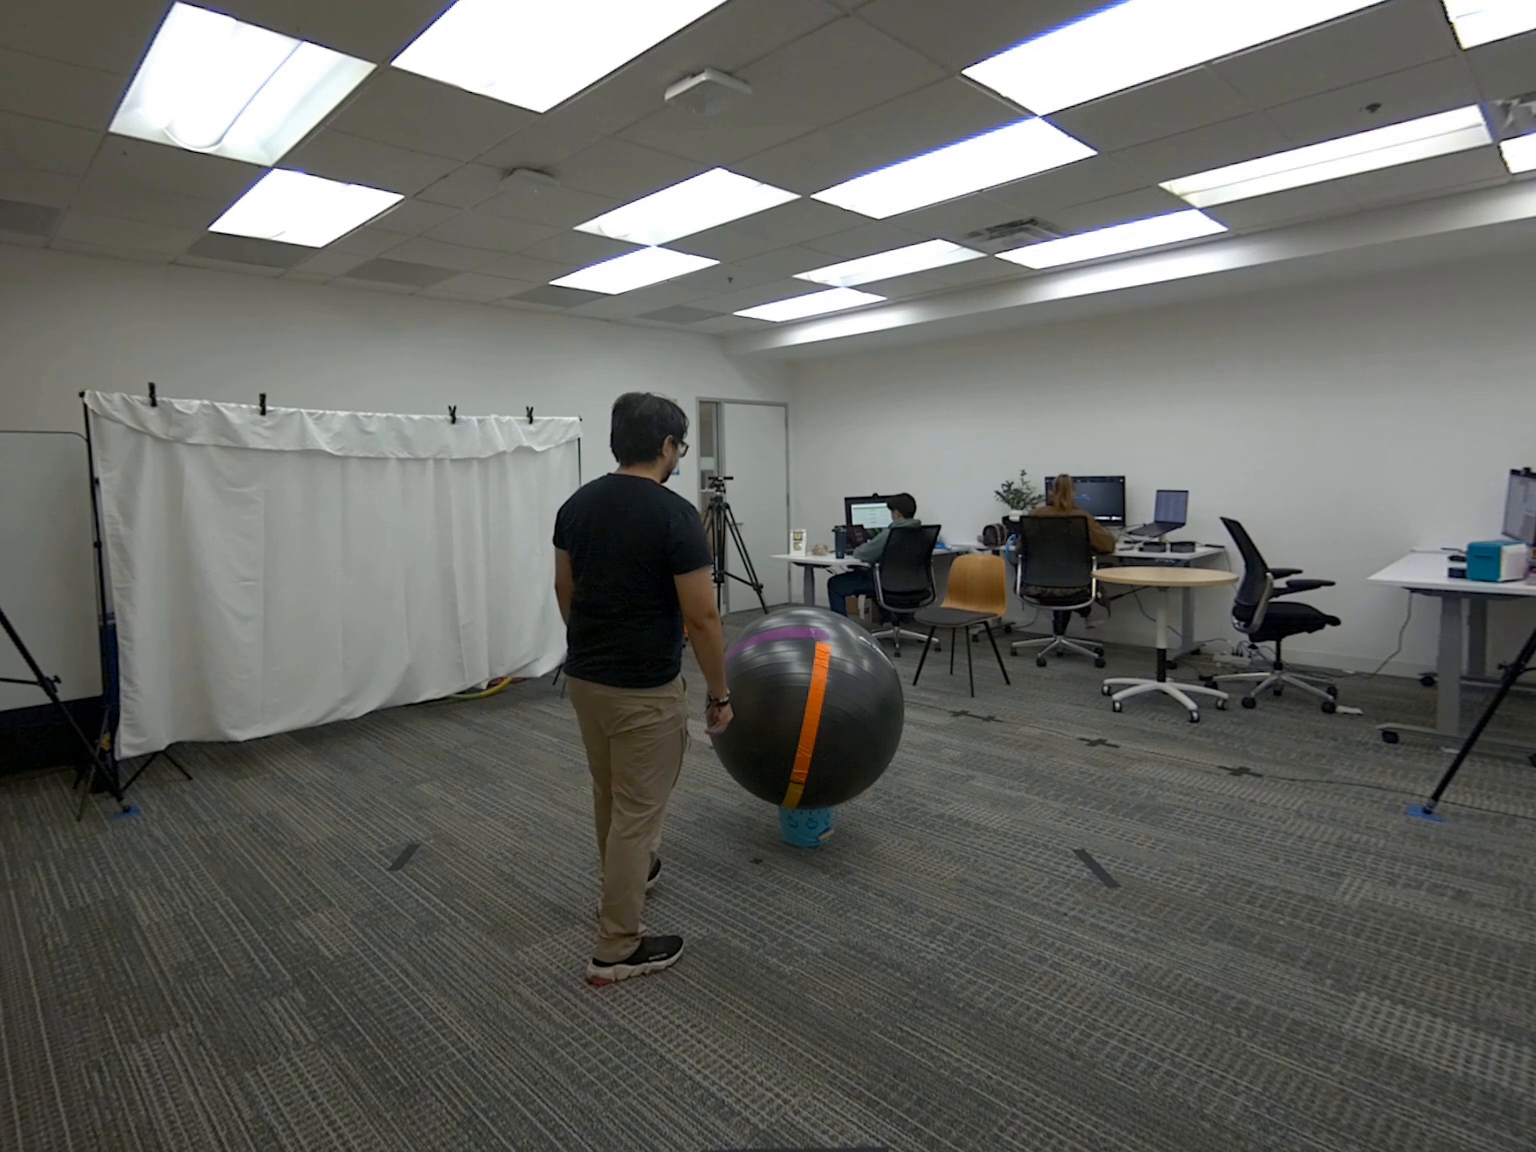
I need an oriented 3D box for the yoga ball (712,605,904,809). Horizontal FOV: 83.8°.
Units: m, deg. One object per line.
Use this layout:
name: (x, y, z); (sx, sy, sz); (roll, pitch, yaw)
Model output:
yoga ball: (0.136, 0.506, 3.281); (0.757, 0.755, 0.762); (-1, 5, -2)
